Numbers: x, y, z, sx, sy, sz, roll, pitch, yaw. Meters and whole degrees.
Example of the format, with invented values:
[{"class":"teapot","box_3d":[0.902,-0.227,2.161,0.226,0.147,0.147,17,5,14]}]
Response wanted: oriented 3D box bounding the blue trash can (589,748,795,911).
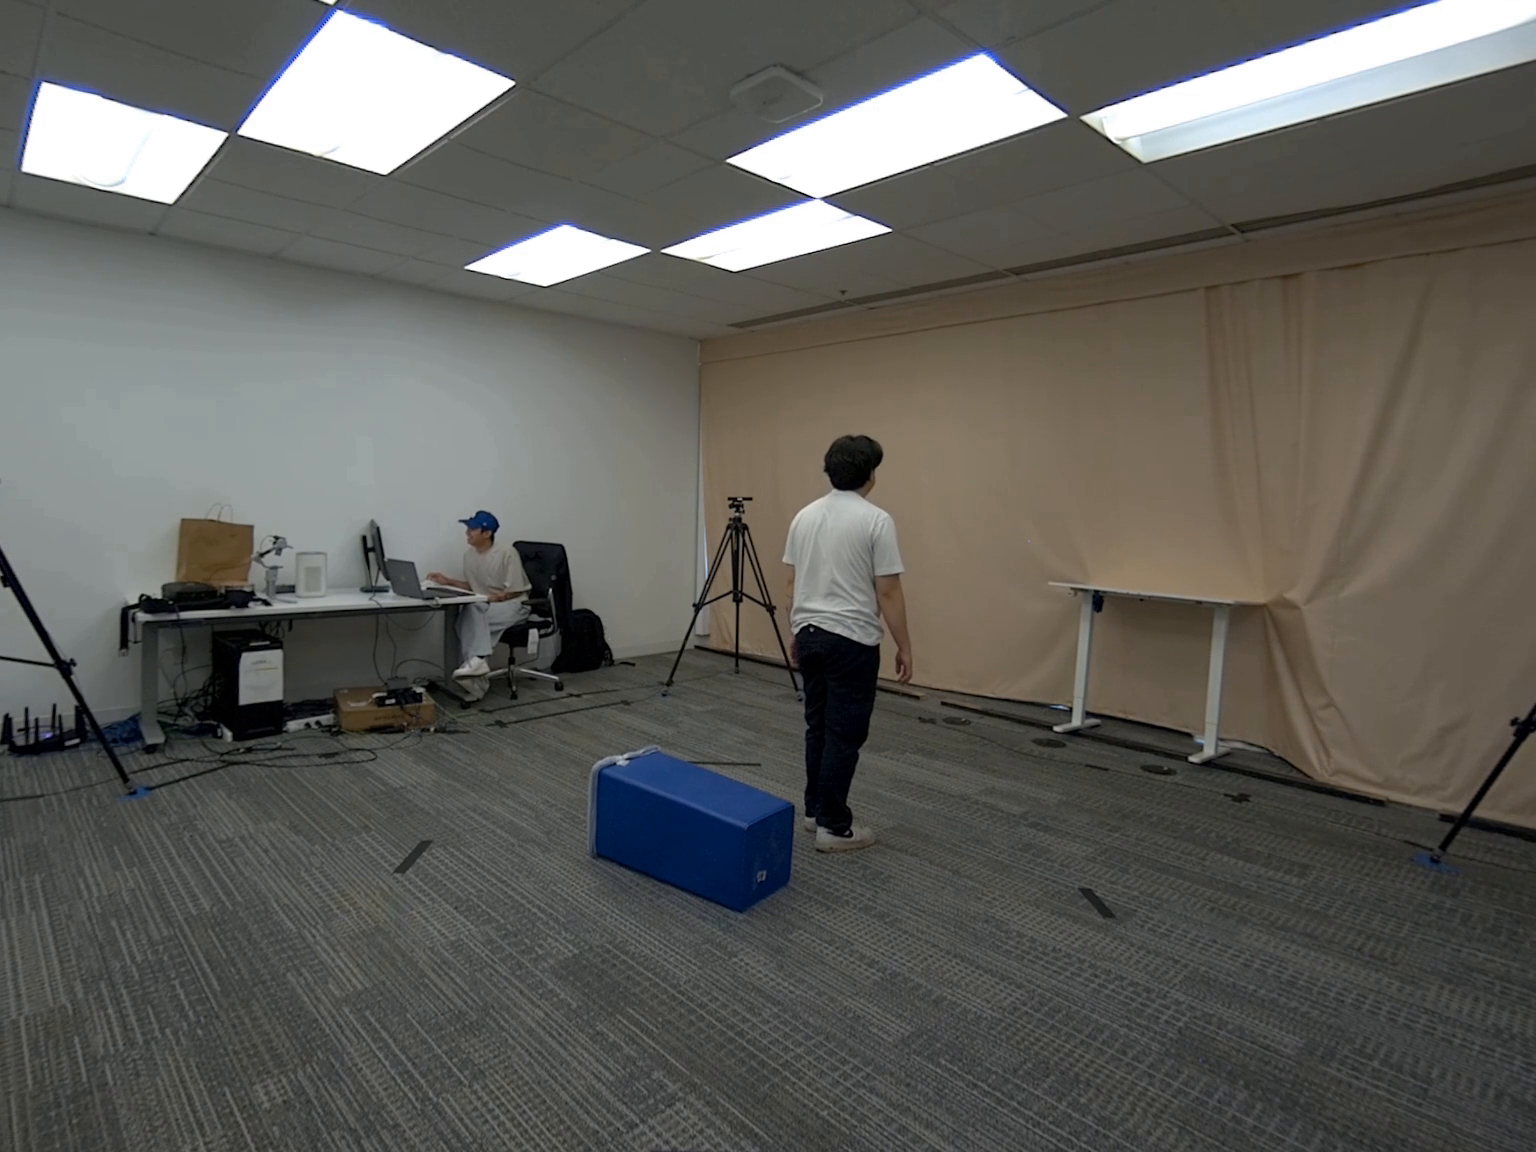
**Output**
[{"class":"blue trash can","box_3d":[-0.296,0.937,3.140,0.732,0.373,0.369,9,7,37]}]
